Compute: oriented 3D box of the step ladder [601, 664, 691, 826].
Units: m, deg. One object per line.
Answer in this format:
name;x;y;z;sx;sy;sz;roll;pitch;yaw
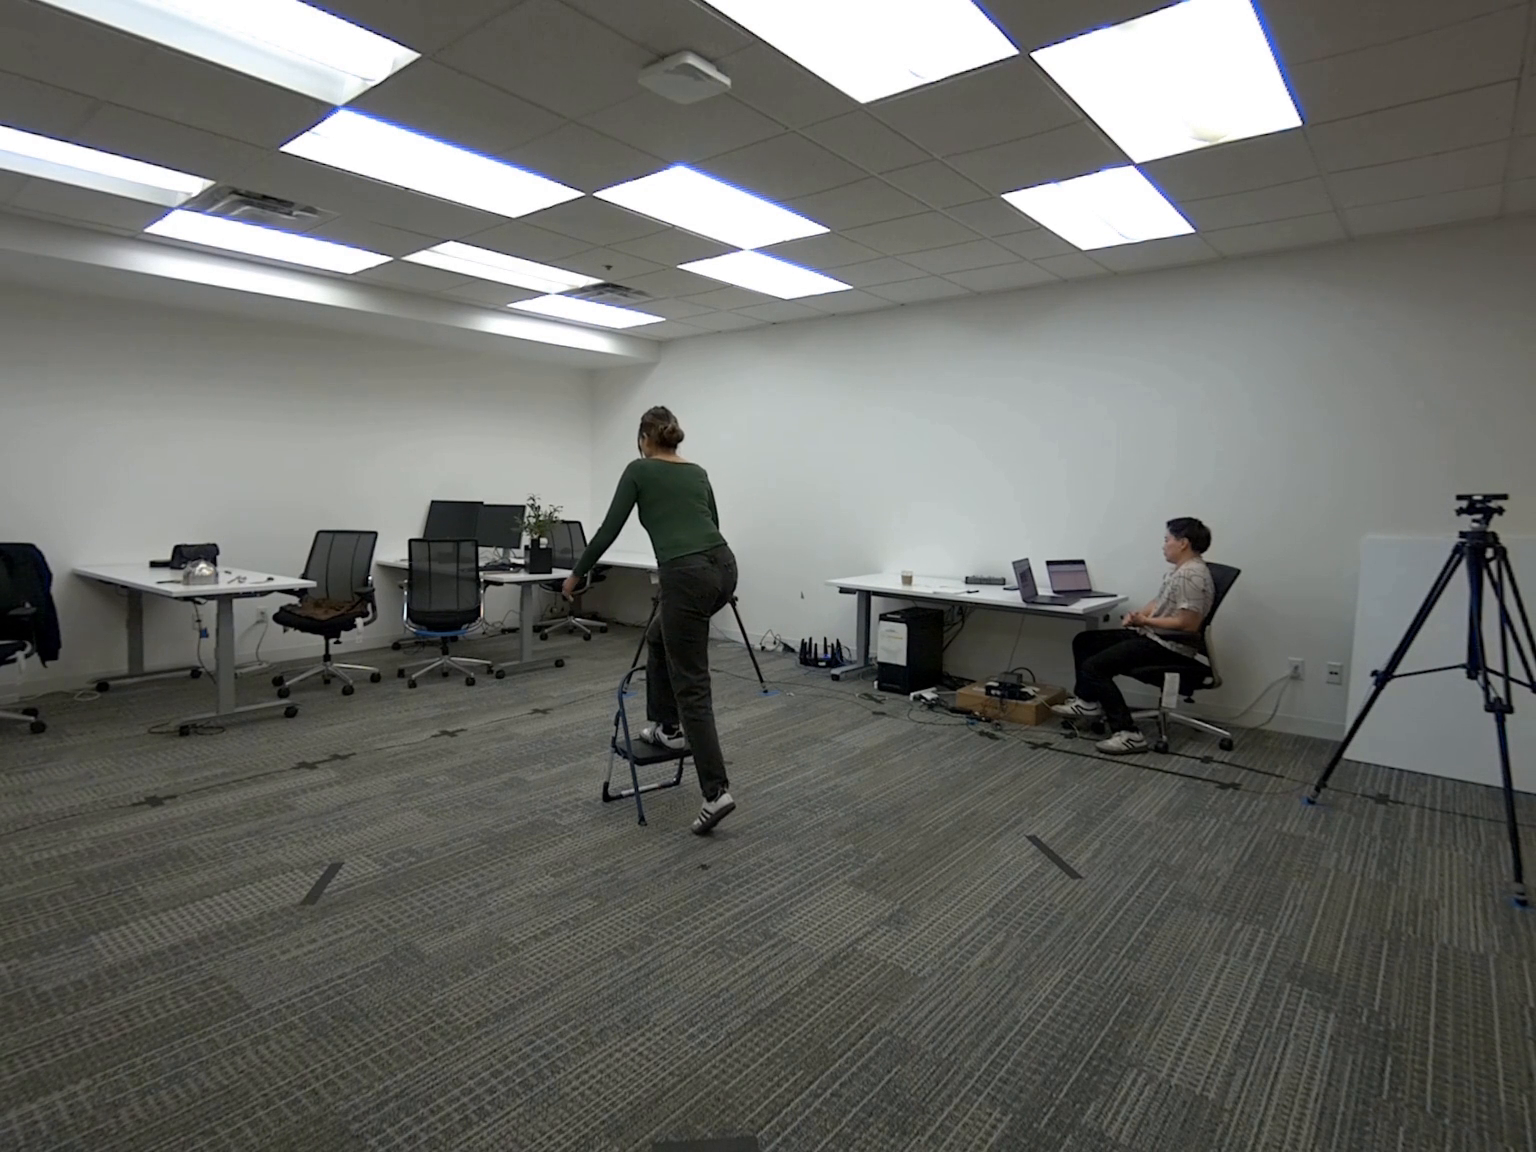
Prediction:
step ladder;-0.479;0.697;3.741;0.418;0.604;0.361;-2;4;-40
